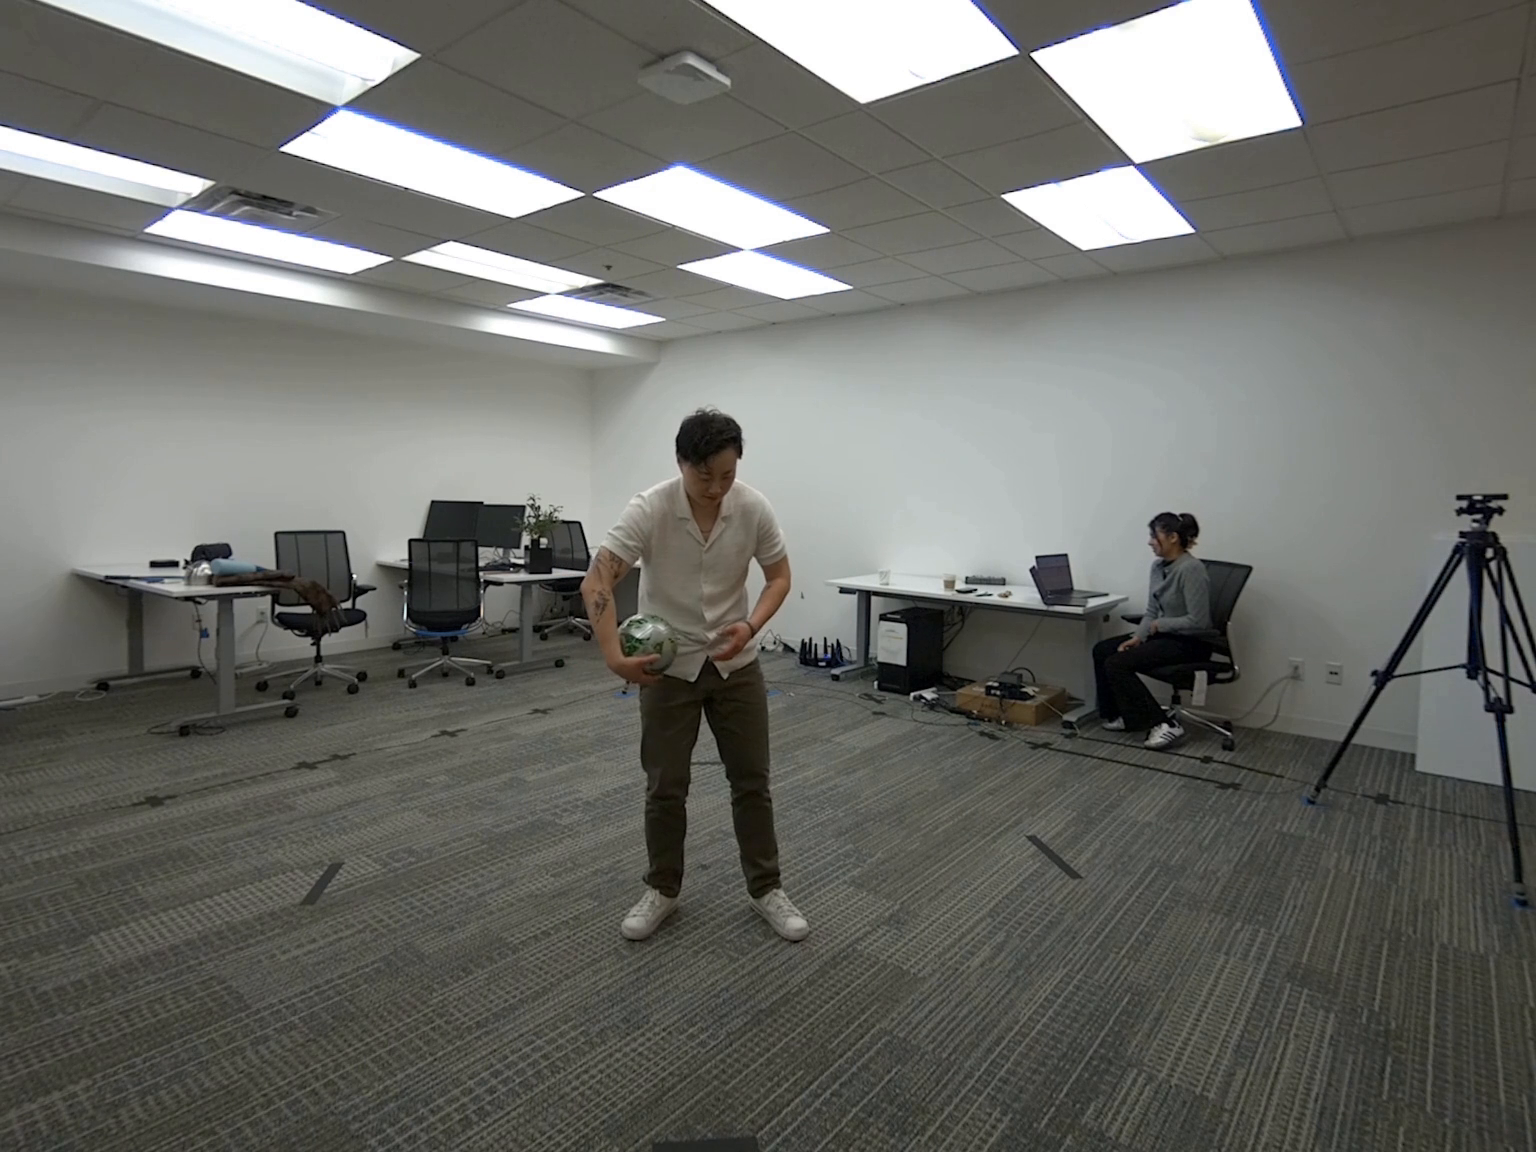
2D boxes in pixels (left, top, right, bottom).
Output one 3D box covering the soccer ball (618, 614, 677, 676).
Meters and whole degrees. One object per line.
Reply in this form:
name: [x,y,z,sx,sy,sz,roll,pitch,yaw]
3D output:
soccer ball: [-0.371,0.200,2.485,0.187,0.187,0.188,1,4,-2]
